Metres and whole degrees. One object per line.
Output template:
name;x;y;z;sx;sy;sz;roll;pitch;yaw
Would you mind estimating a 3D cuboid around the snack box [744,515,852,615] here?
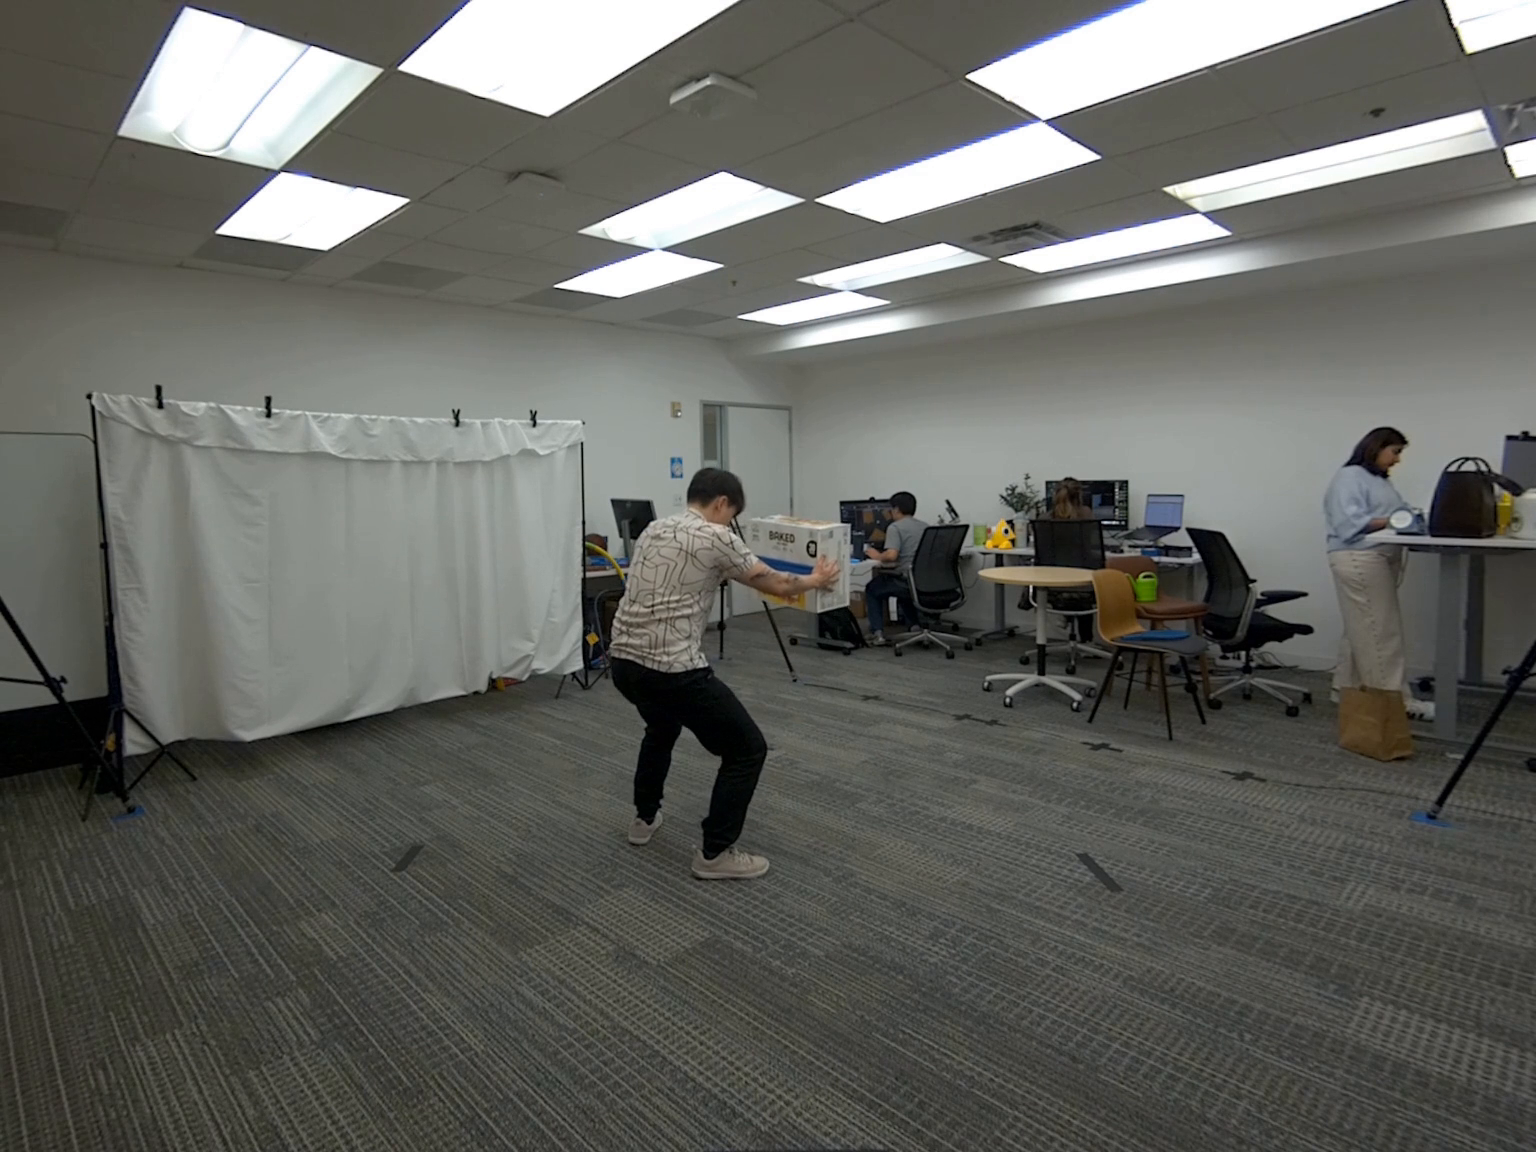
snack box;0.126;-0.057;3.578;0.201;0.337;0.419;-9;13;-42
